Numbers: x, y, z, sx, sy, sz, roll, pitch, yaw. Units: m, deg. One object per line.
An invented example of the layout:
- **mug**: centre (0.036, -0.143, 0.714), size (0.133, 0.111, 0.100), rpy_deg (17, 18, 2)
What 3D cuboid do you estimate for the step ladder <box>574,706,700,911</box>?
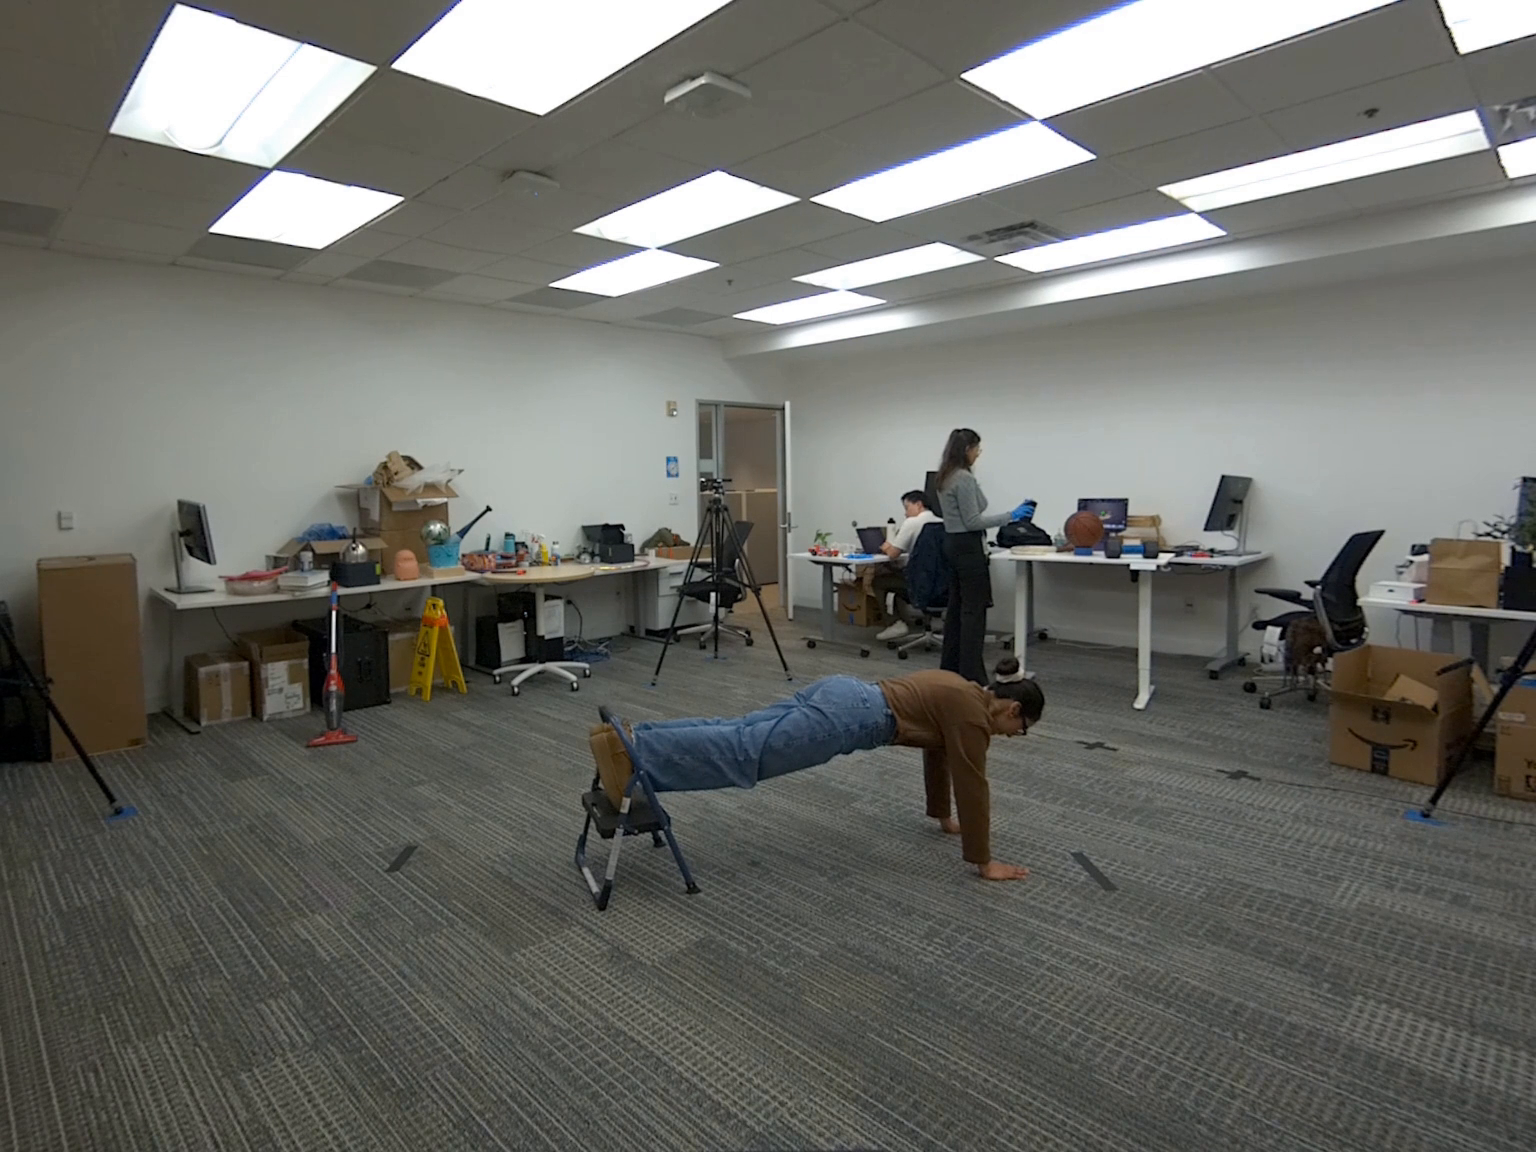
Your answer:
- **step ladder**: centre (-0.477, 0.762, 3.010), size (0.342, 0.604, 0.441), rpy_deg (-3, 5, -24)
